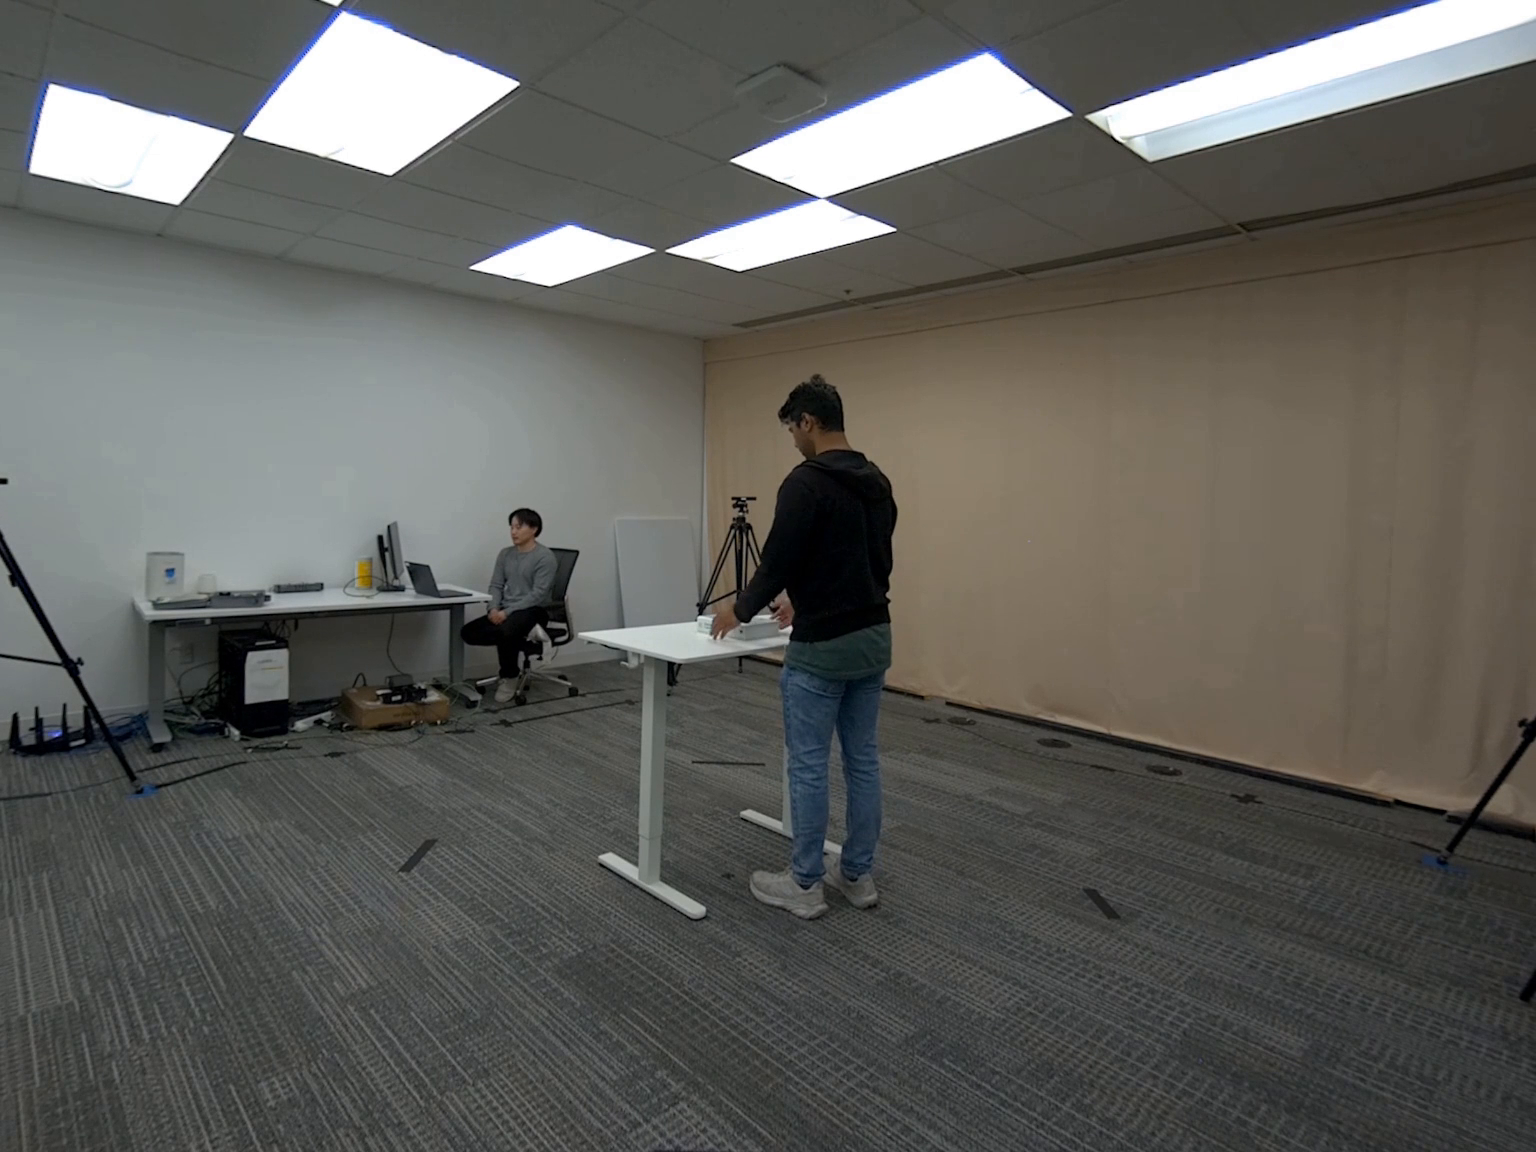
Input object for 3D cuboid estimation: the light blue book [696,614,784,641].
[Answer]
[{"bbox_3d":[-0.114,0.190,3.176,0.268,0.059,0.187,7,7,44],"label":"light blue book"}]
